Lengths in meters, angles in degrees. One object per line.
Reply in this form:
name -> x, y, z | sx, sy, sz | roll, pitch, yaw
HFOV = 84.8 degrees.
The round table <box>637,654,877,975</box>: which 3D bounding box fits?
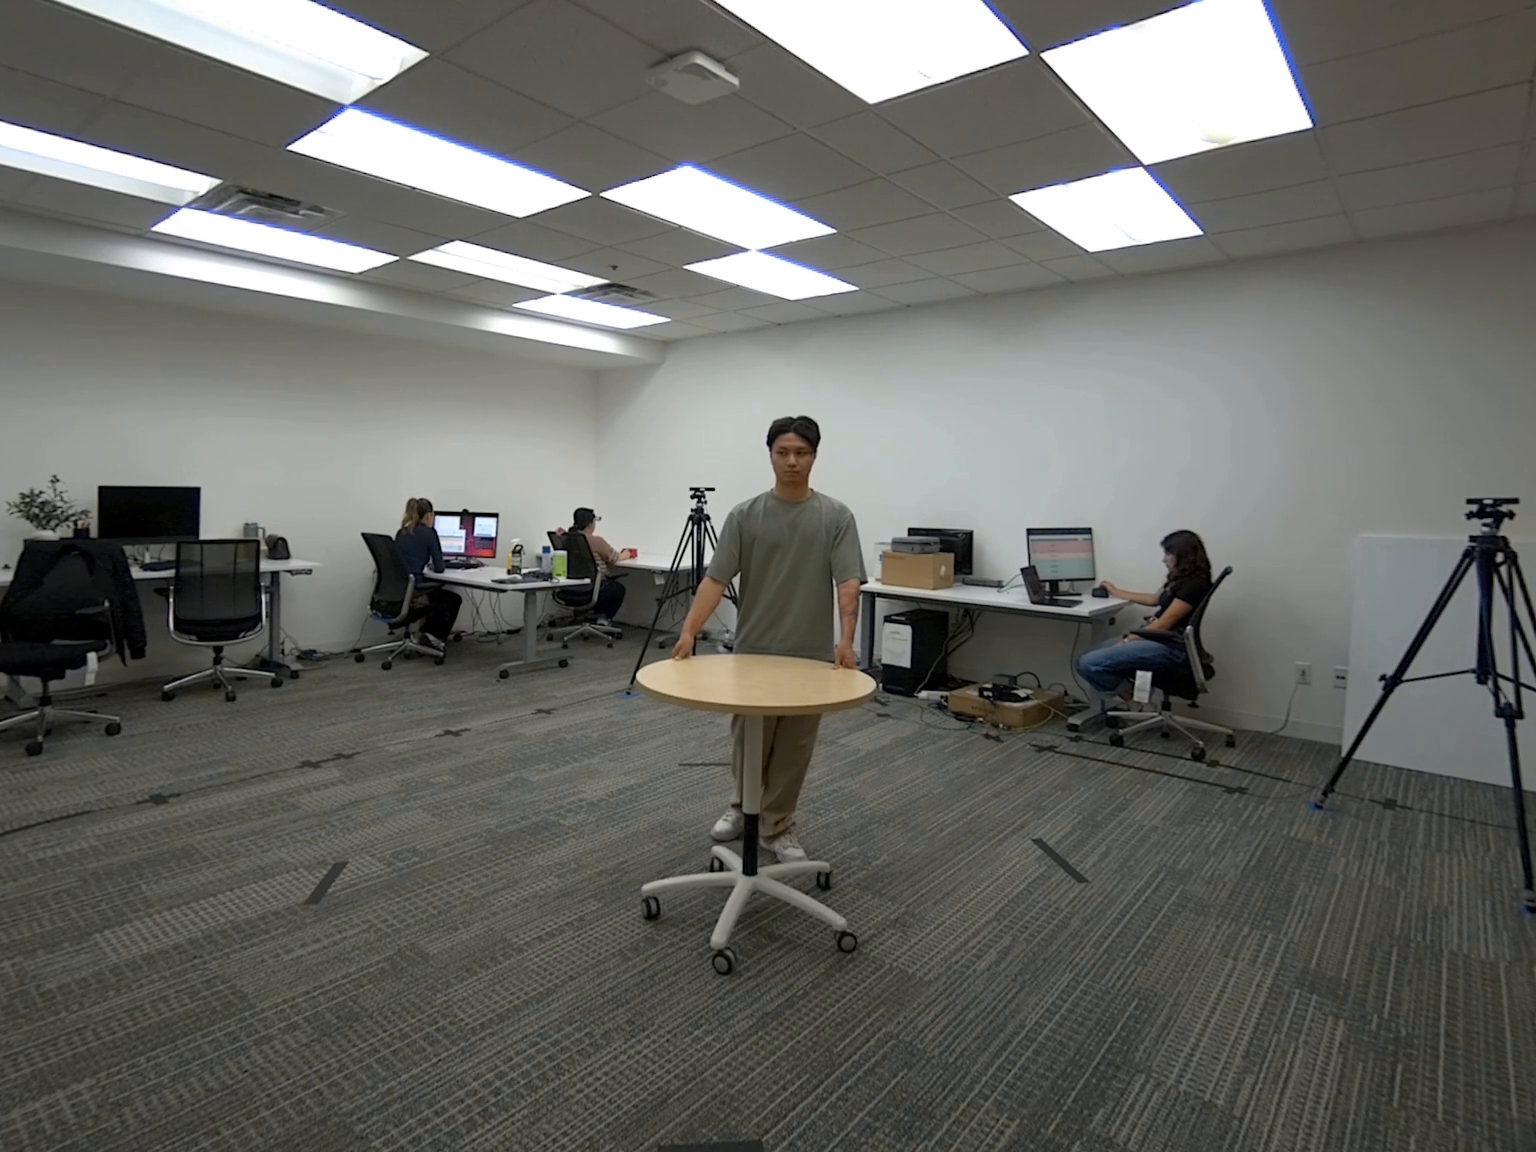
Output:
round table -> -0.064, 0.711, 2.741 | 0.784, 0.784, 0.788 | 1, 3, -2
